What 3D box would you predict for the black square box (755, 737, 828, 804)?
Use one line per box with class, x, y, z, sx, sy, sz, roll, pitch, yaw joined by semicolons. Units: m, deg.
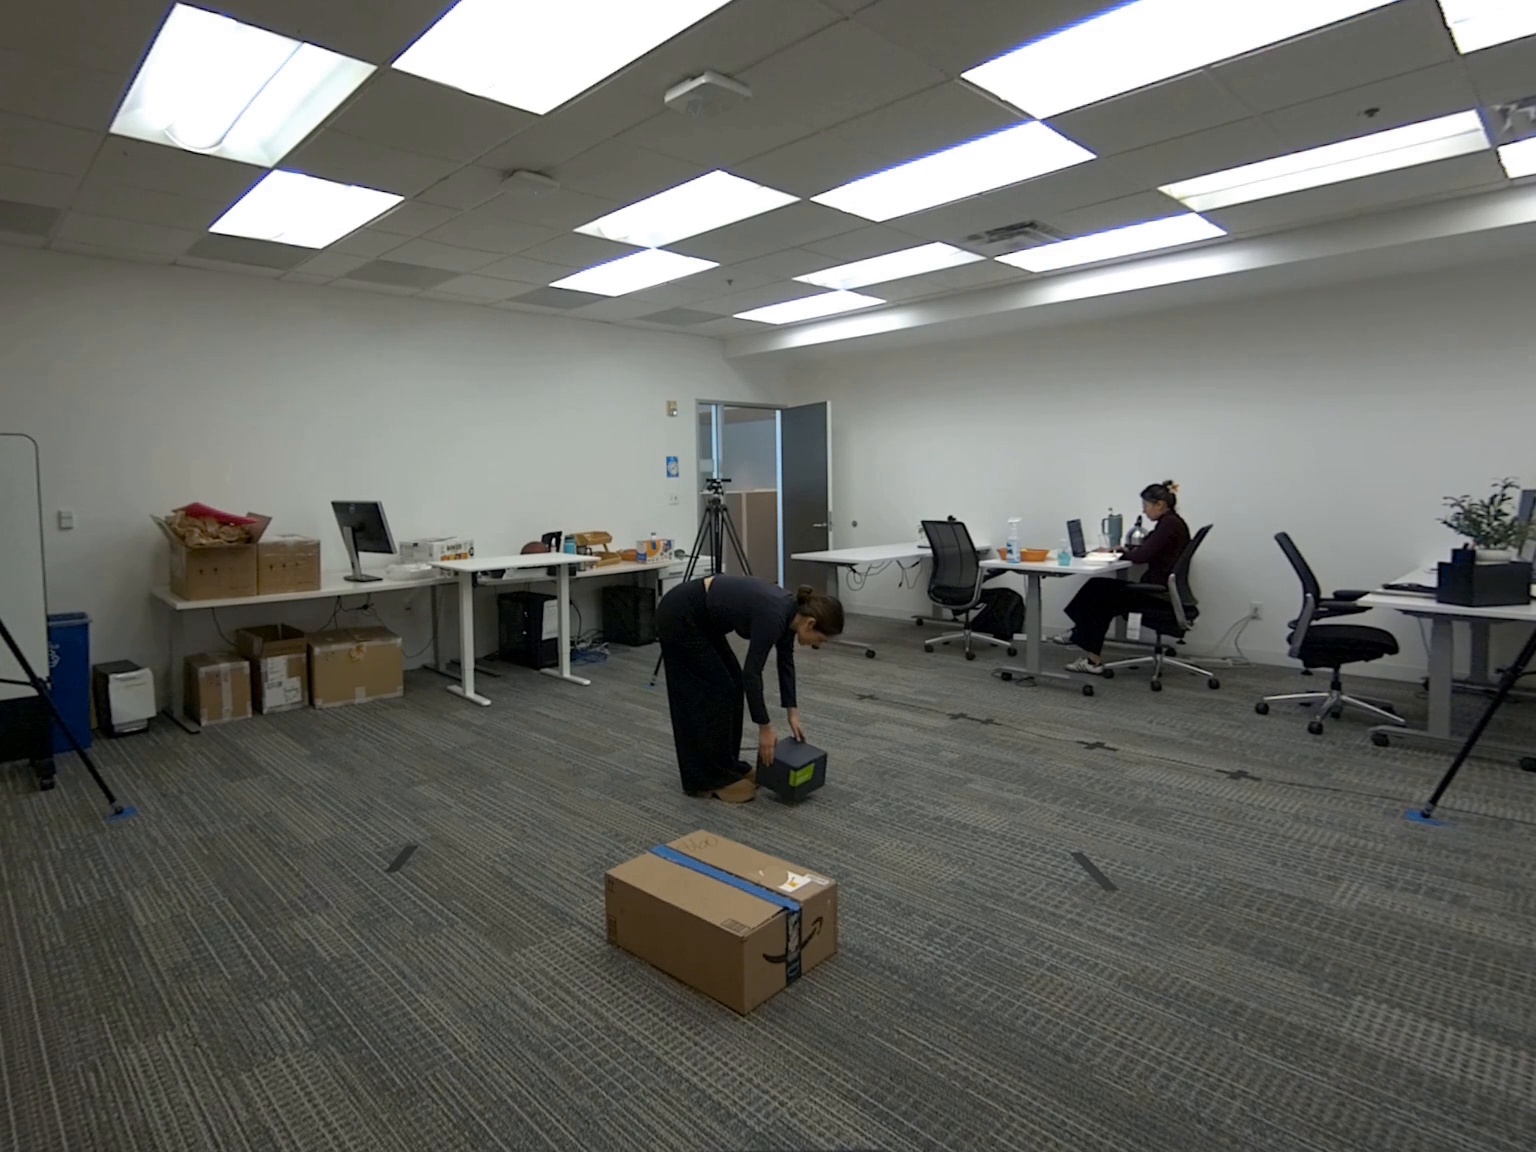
black square box;0.107;0.827;3.715;0.224;0.154;0.222;14;16;39
